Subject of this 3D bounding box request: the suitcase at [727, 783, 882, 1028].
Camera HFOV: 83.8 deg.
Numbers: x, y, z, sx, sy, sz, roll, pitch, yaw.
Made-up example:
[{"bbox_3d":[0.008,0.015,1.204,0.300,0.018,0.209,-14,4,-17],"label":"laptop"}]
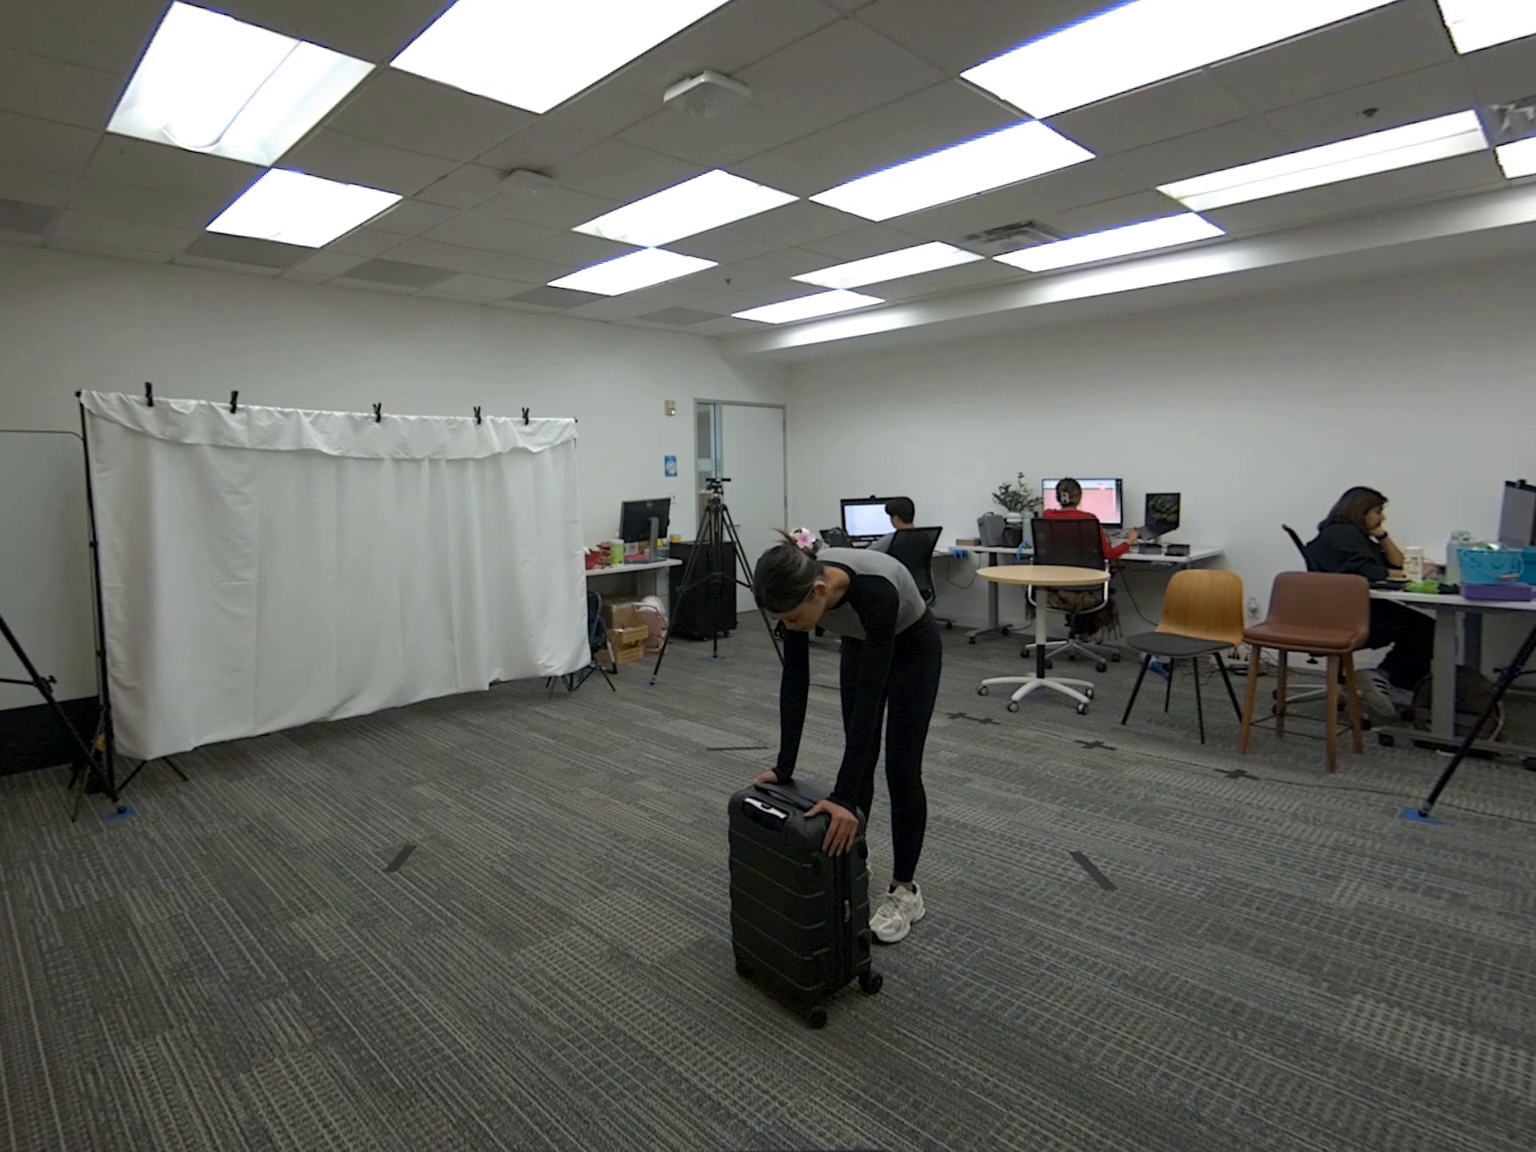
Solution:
[{"bbox_3d":[0.085,0.854,2.347,0.242,0.546,0.387,-7,7,-38],"label":"suitcase"}]
